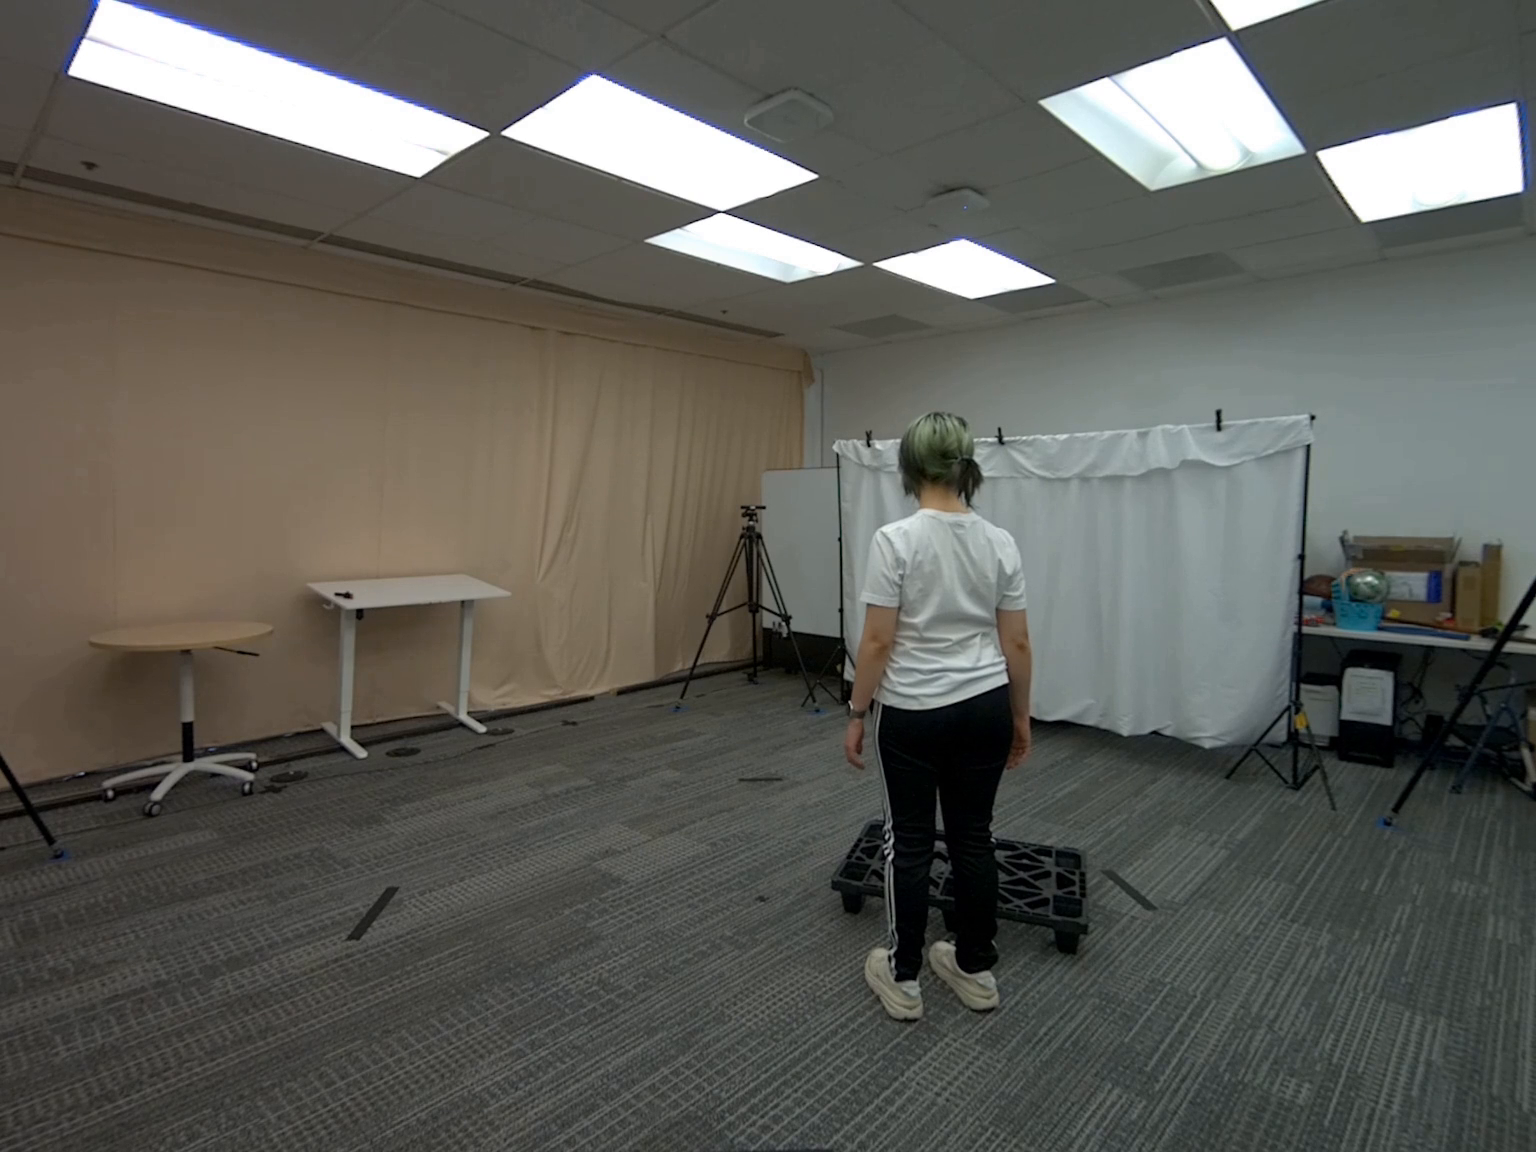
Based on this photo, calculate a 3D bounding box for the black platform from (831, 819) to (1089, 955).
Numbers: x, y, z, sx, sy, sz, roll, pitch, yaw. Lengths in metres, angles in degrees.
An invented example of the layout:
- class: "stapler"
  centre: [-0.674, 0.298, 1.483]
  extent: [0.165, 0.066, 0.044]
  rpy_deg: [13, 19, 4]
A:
- class: "black platform"
  centre: [0.685, 1.074, 2.955]
  extent: [0.824, 0.143, 0.592]
  rpy_deg: [2, 4, 21]
